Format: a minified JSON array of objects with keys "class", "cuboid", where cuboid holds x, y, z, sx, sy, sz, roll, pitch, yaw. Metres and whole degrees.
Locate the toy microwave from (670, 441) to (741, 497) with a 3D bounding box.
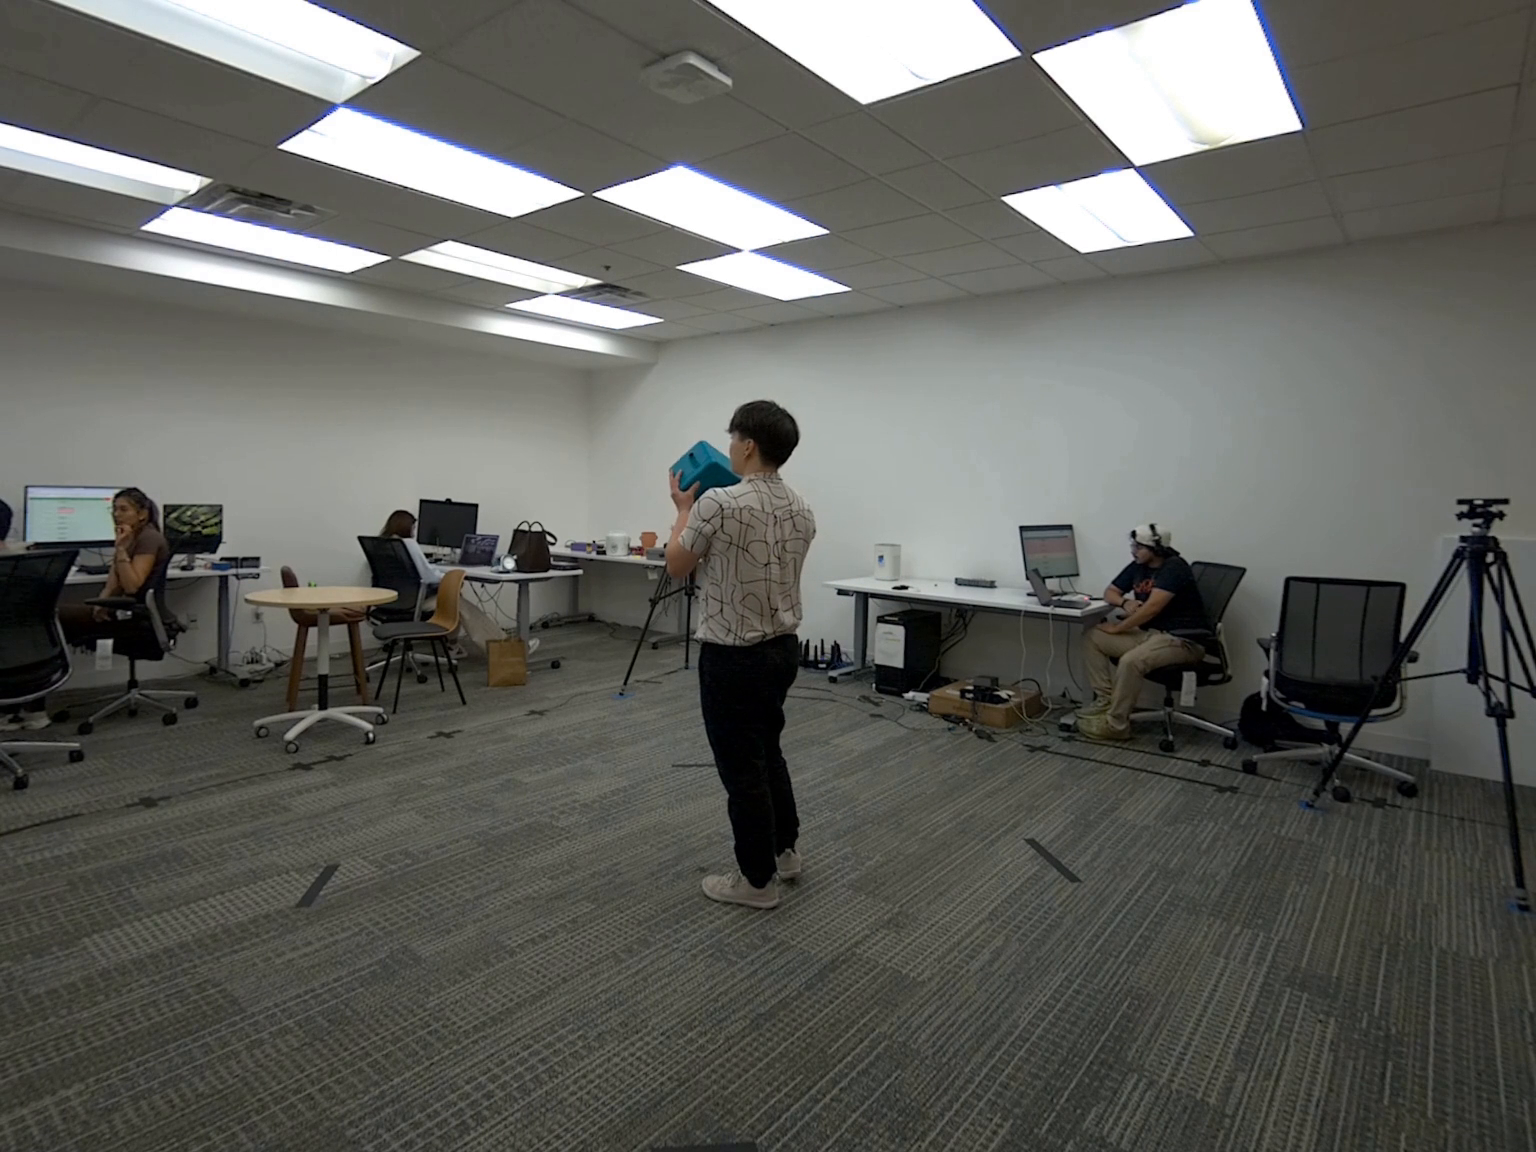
[{"class":"toy microwave","cuboid":[-0.210,-0.344,3.066,0.184,0.158,0.274,-41,-40,16]}]
